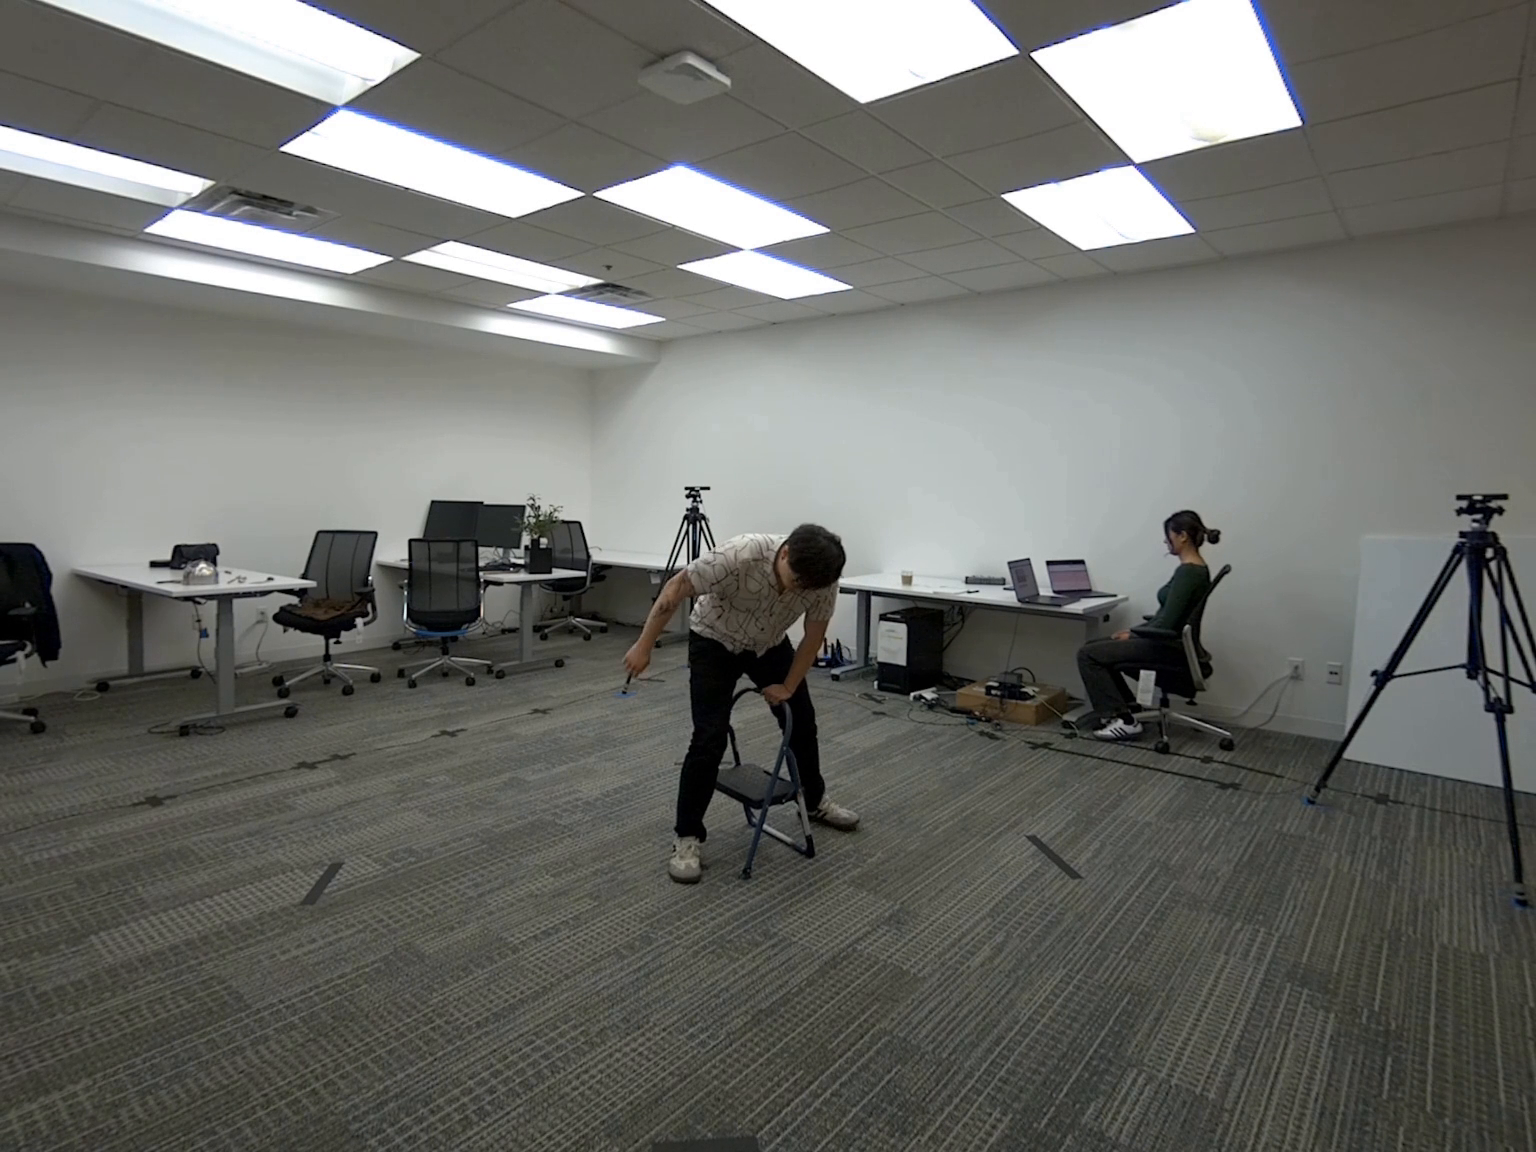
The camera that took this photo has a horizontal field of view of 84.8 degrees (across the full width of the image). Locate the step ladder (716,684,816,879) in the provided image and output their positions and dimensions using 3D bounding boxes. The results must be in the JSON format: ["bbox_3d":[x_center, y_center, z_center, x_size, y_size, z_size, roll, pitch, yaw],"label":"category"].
[{"bbox_3d":[-0.082,0.746,3.273,0.339,0.604,0.444,-2,4,-37],"label":"step ladder"}]
